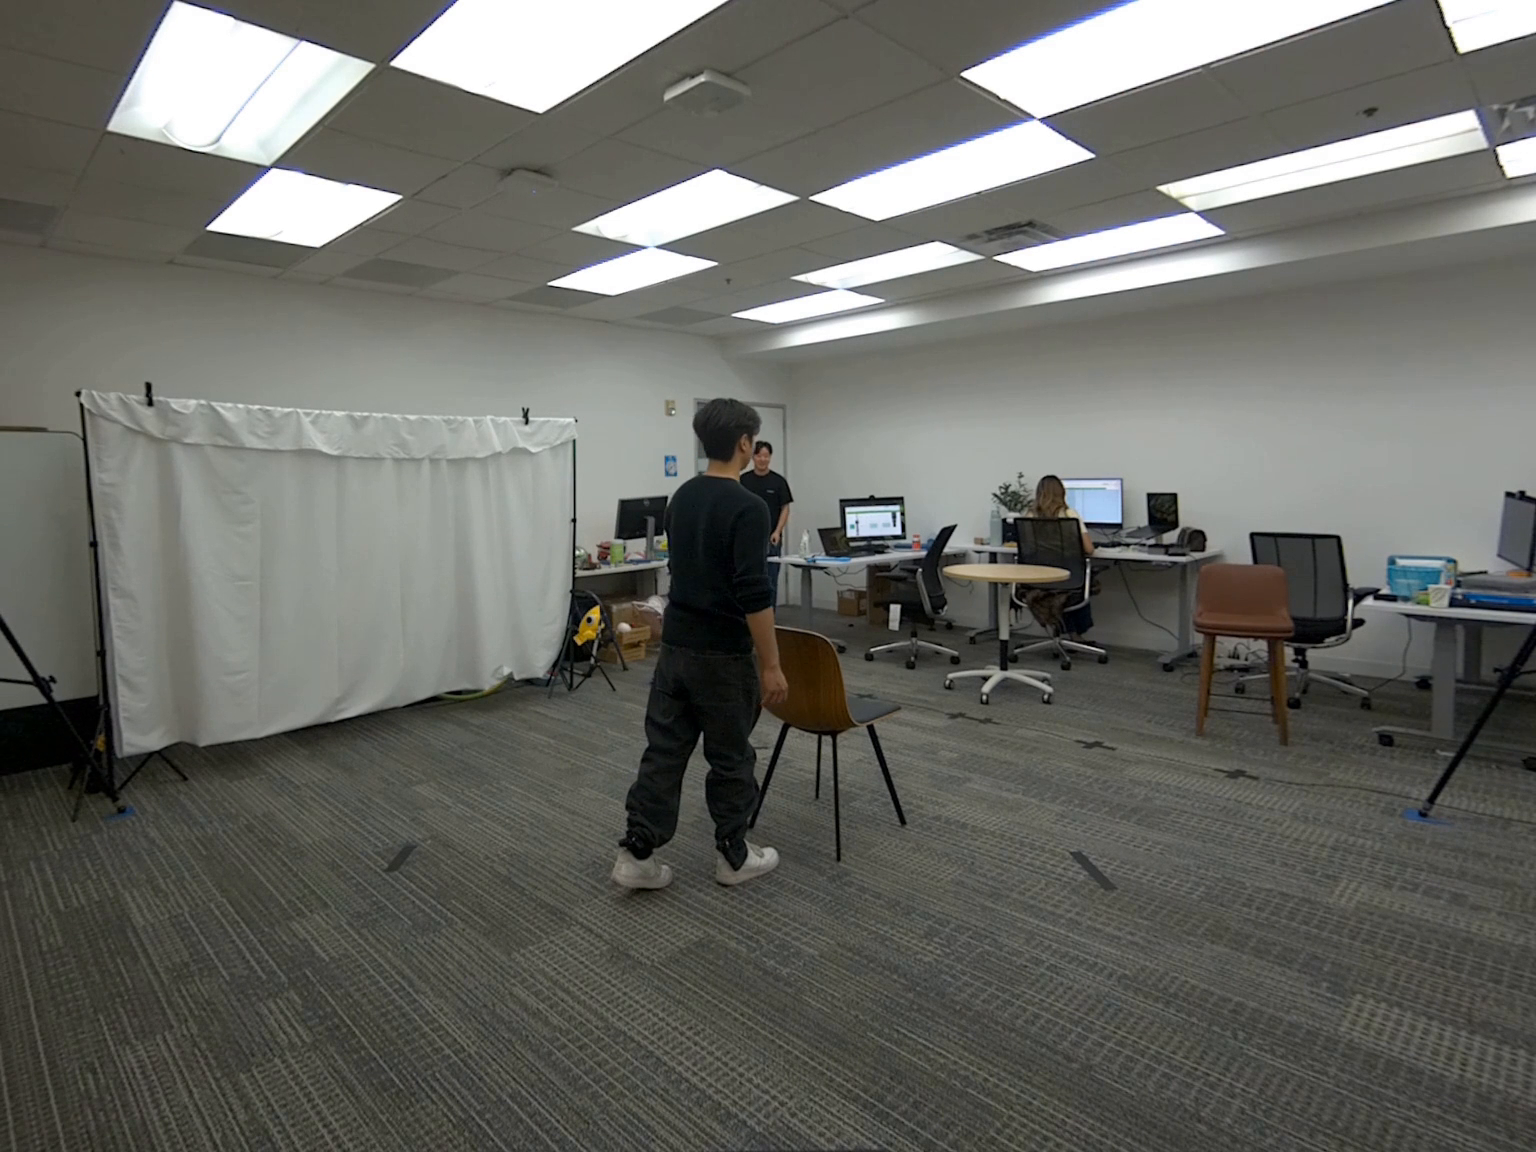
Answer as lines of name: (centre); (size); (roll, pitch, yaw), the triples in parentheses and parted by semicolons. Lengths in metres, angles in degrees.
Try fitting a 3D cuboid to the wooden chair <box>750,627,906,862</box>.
wooden chair: (0.238, 0.579, 3.393); (0.493, 0.871, 0.511); (3, 10, 42)
